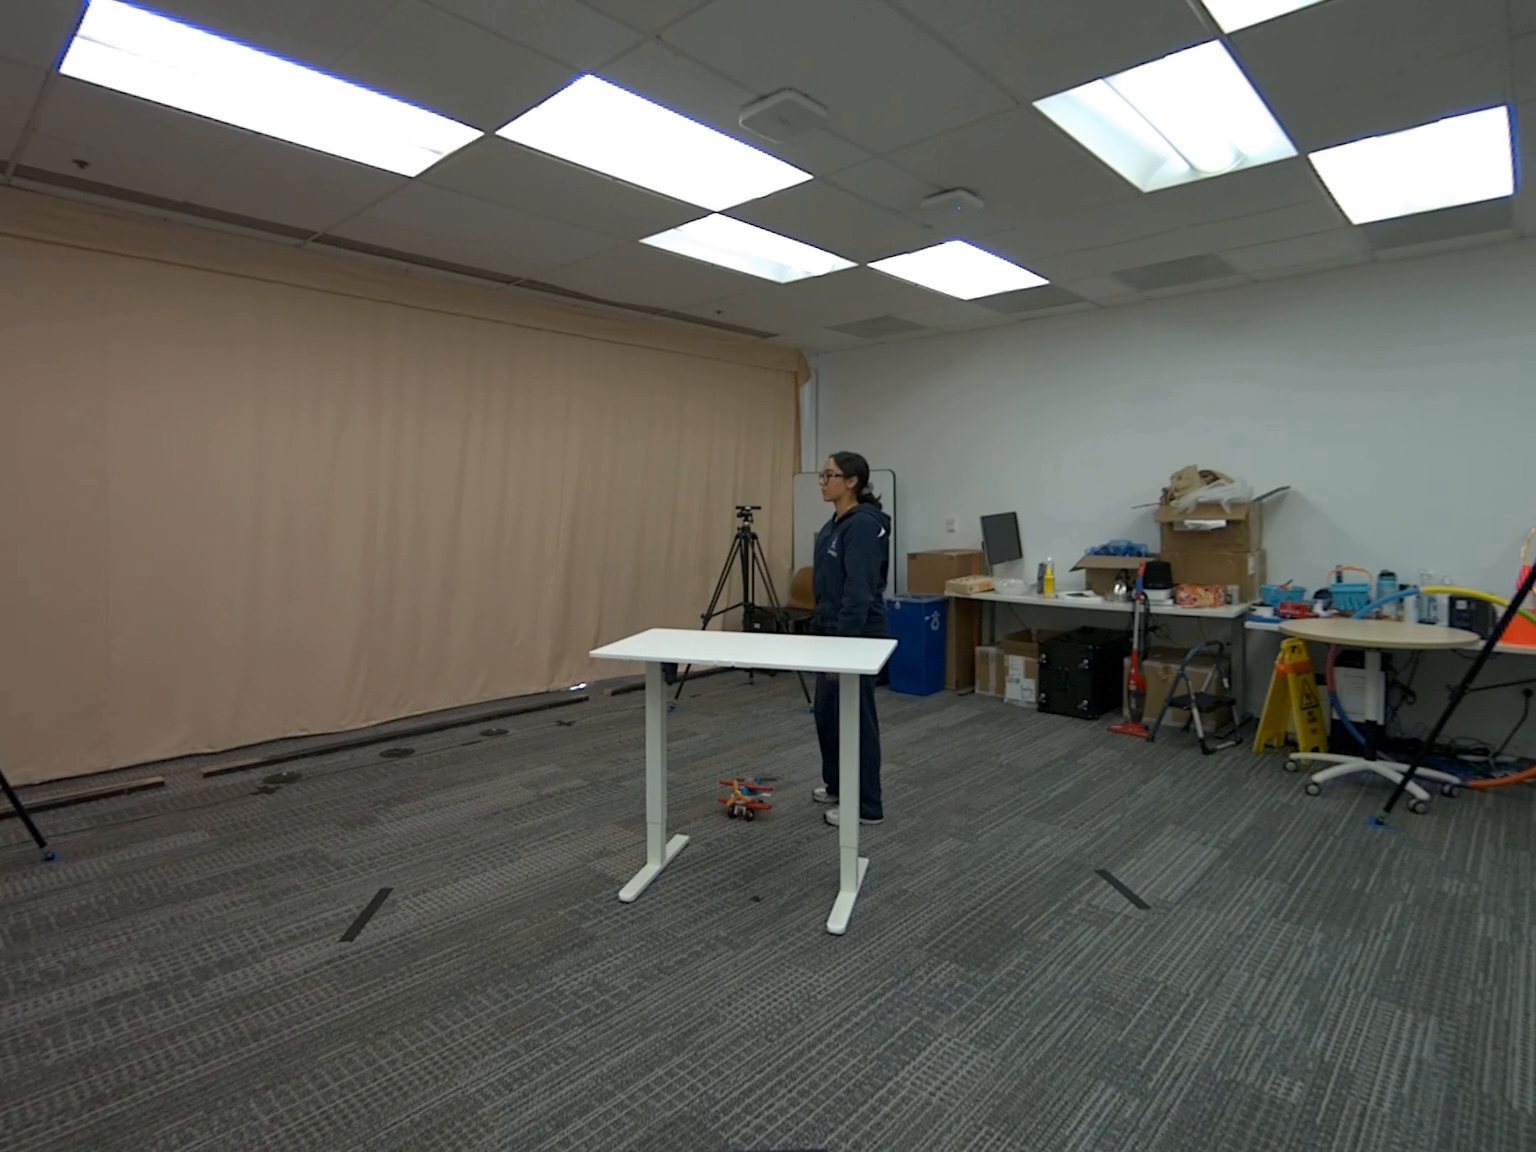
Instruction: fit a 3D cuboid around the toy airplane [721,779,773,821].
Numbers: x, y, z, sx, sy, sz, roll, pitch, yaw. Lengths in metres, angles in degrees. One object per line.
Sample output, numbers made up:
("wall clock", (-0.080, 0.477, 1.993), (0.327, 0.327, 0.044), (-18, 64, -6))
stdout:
("toy airplane", (-0.083, 0.999, 3.831), (0.250, 0.156, 0.261), (-1, 5, -4))
